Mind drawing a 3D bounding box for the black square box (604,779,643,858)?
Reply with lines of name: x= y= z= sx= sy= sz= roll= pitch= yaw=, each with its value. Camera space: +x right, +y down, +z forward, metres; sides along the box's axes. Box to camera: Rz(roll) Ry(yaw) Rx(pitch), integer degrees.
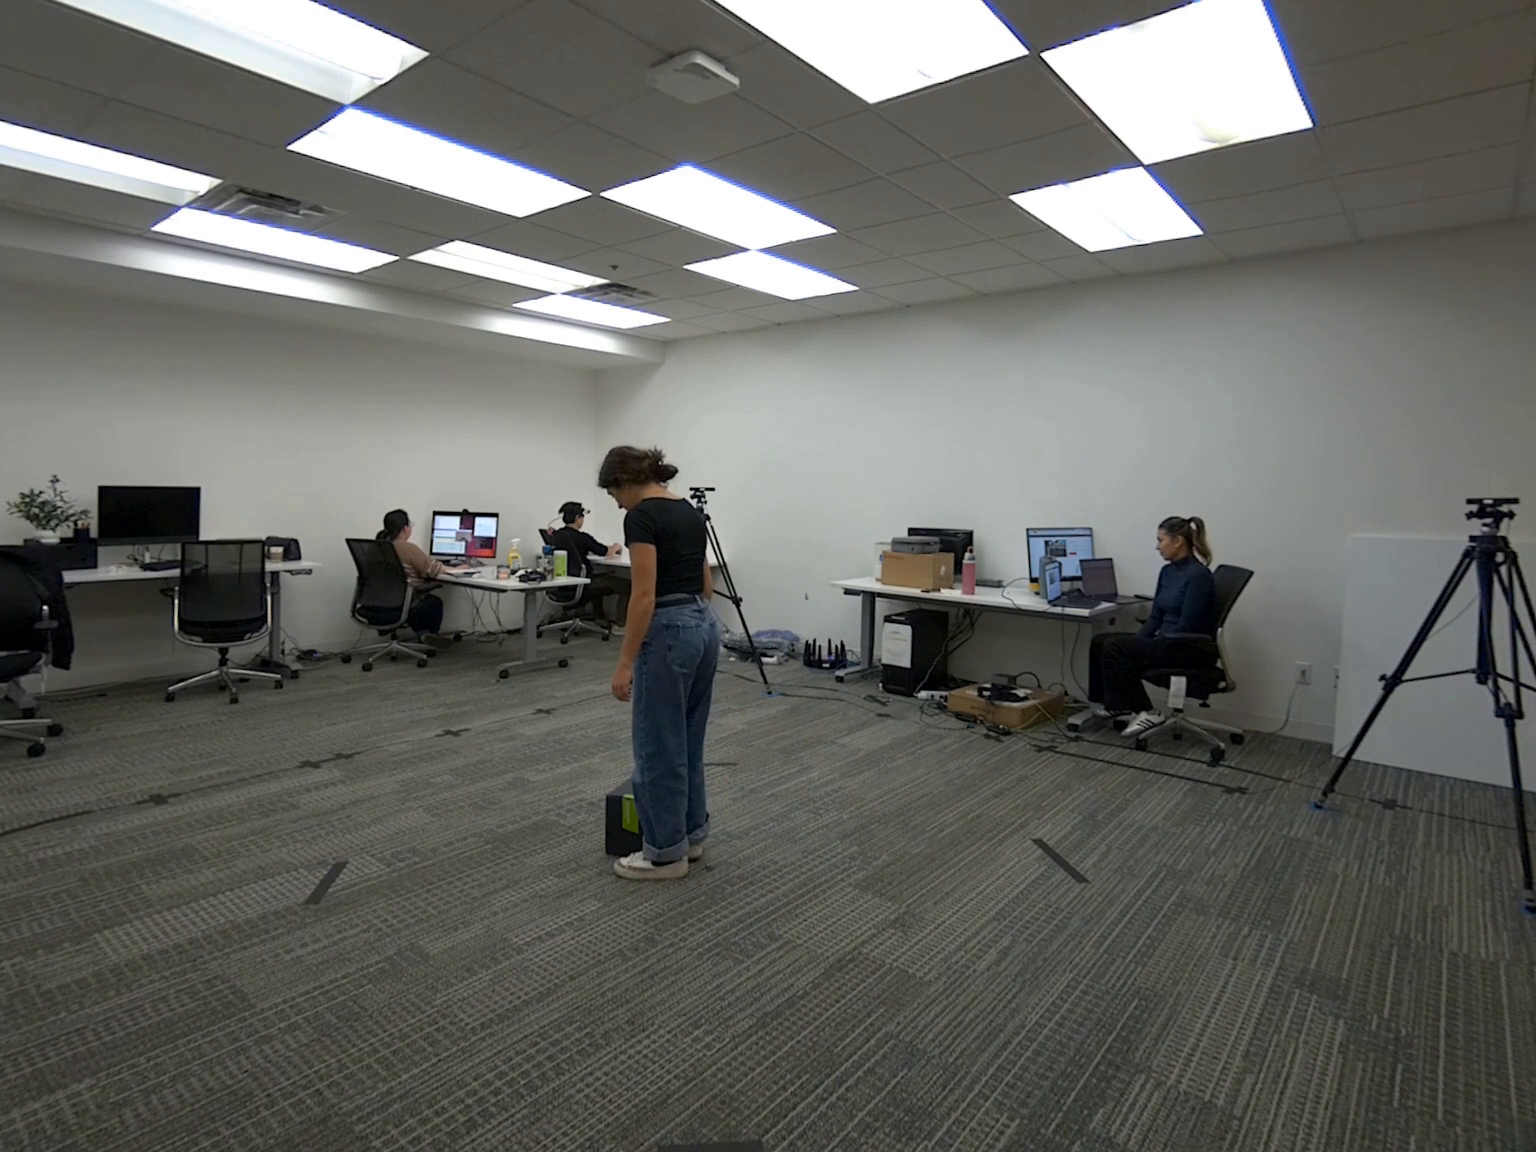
black square box: x=-0.537 y=0.924 z=3.284 sx=0.158 sy=0.227 sz=0.215 roll=3 pitch=6 yaw=12
